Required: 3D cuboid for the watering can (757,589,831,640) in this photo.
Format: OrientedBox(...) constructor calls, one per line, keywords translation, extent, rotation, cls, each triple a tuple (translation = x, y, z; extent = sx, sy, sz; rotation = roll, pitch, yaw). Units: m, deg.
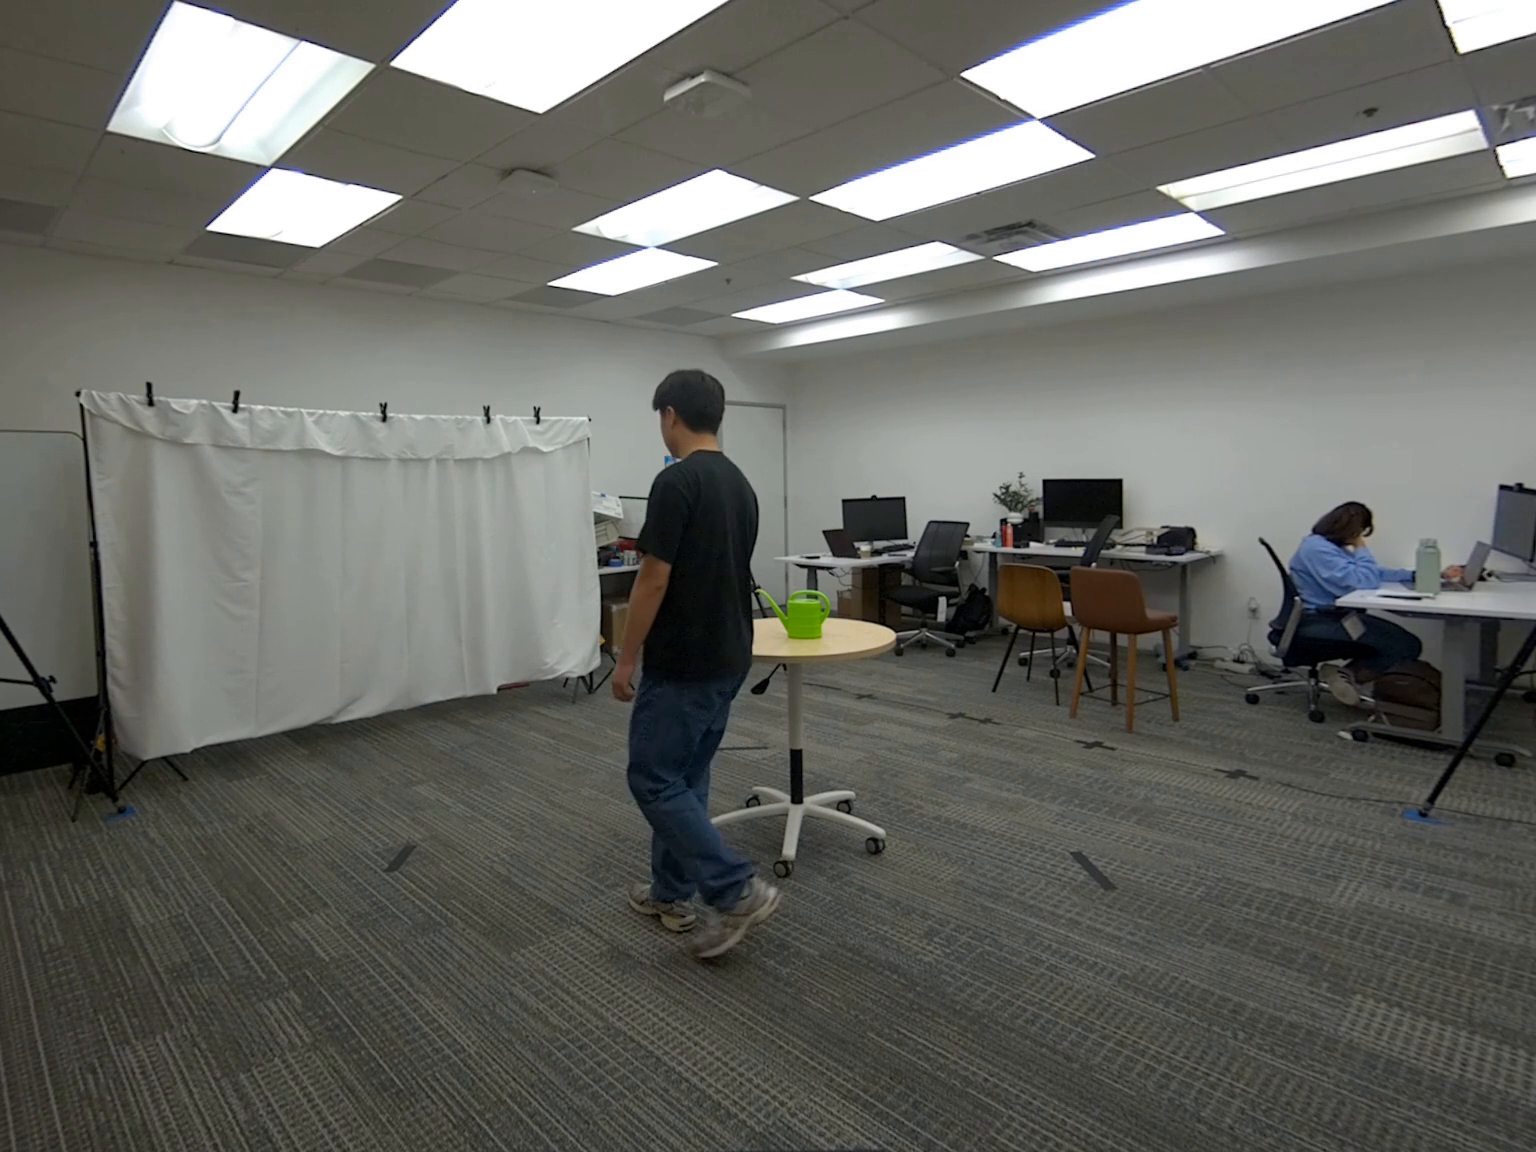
OrientedBox(translation=(0.105, 0.144, 3.233), extent=(0.285, 0.176, 0.096), rotation=(4, 7, 26), cls="watering can")
